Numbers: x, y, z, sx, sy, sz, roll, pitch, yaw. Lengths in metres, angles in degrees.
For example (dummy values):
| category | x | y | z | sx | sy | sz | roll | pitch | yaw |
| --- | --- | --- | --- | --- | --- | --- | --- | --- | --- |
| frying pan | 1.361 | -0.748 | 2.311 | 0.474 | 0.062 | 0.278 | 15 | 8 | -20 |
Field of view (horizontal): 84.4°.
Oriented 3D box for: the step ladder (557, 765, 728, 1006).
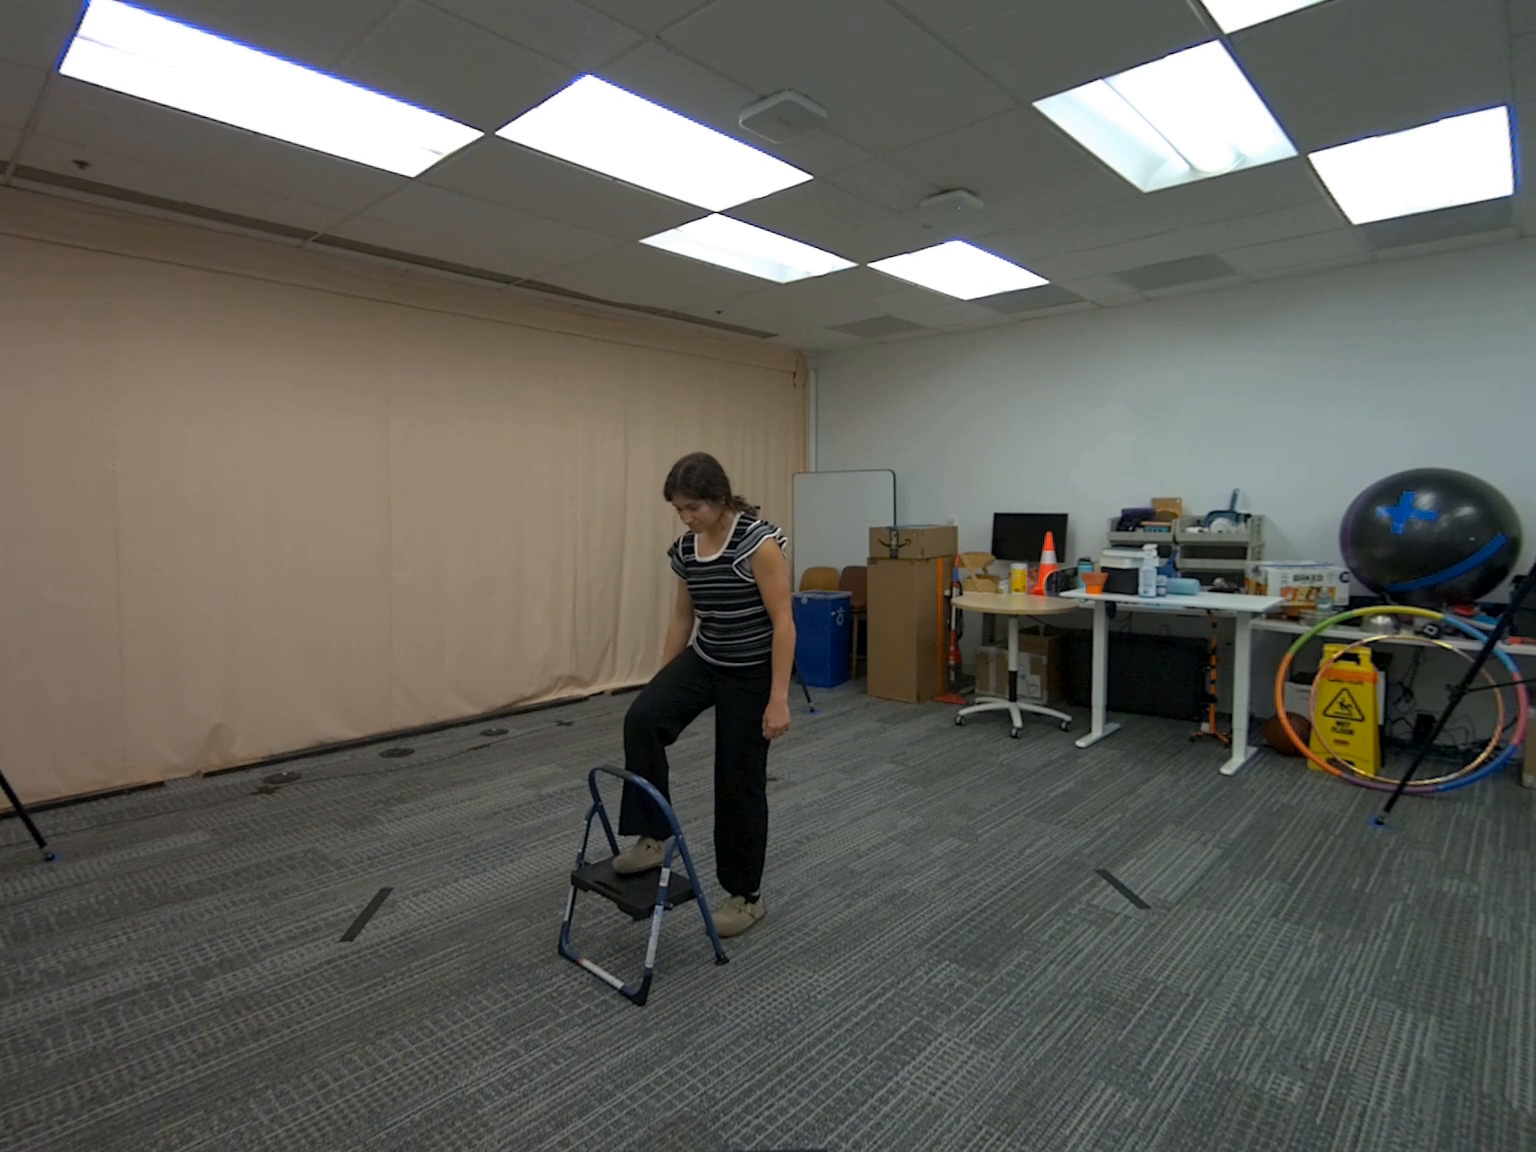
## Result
| category | x | y | z | sx | sy | sz | roll | pitch | yaw |
| --- | --- | --- | --- | --- | --- | --- | --- | --- | --- |
| step ladder | -0.393 | 0.879 | 2.586 | 0.445 | 0.605 | 0.338 | 3 | 4 | 42 |
